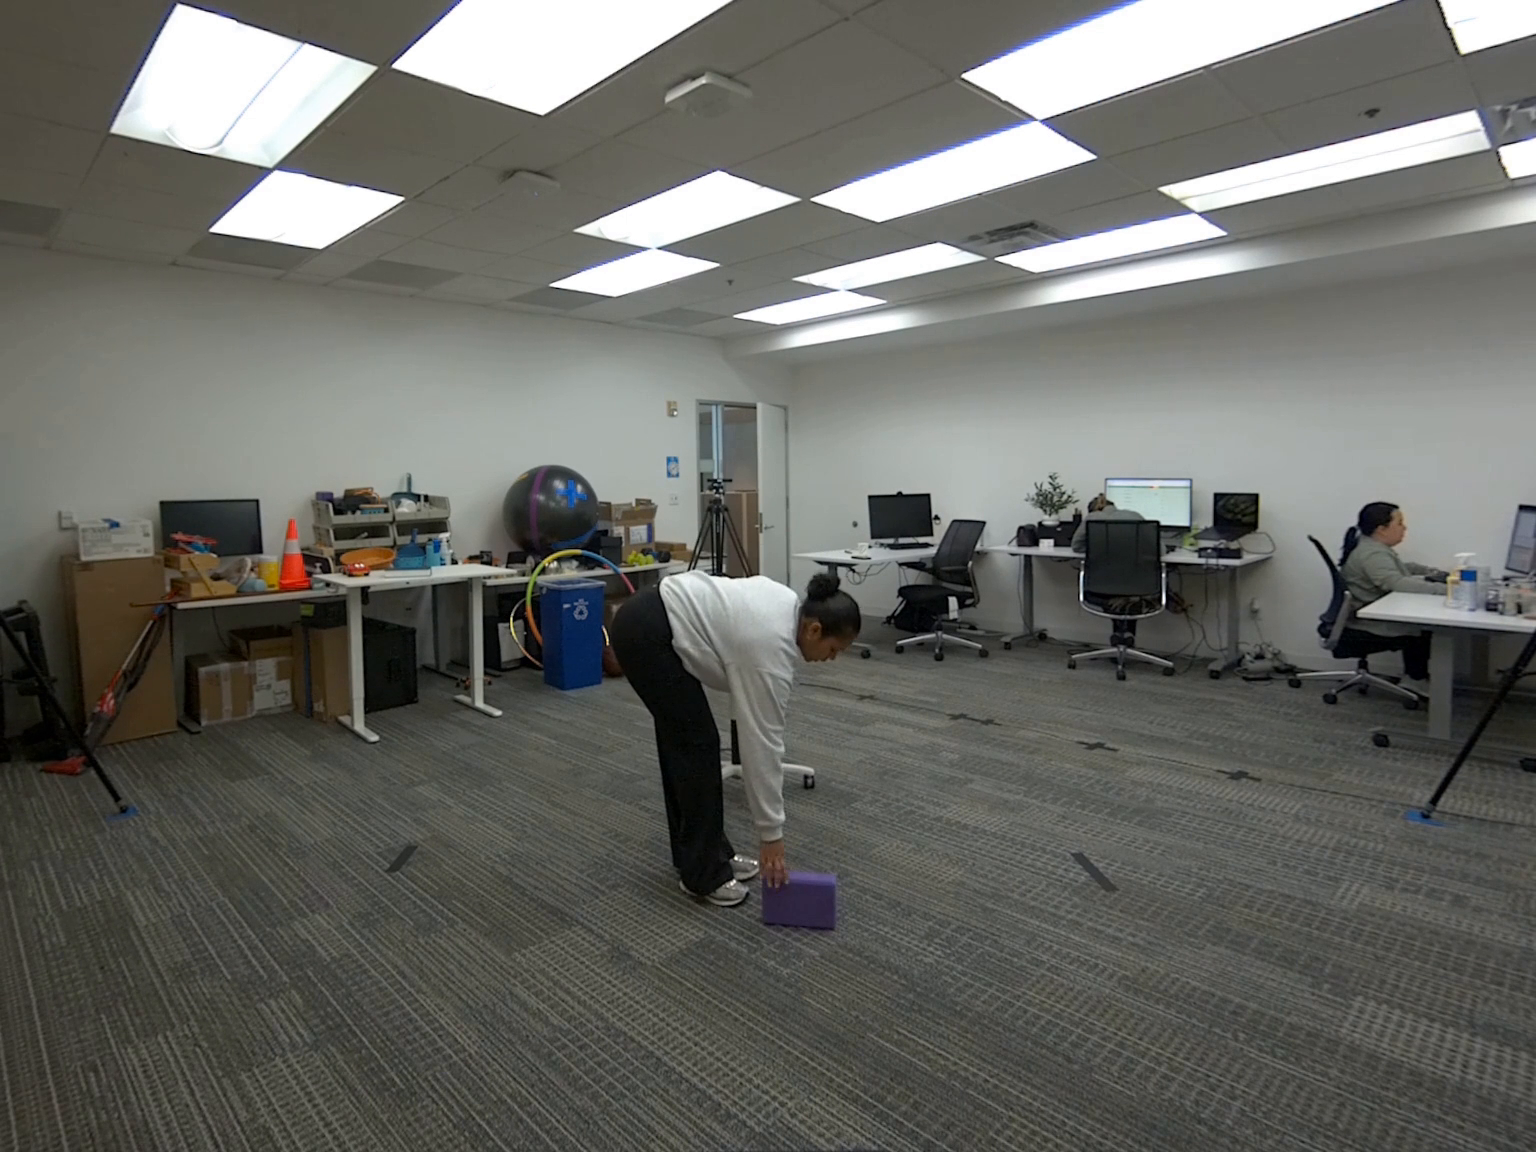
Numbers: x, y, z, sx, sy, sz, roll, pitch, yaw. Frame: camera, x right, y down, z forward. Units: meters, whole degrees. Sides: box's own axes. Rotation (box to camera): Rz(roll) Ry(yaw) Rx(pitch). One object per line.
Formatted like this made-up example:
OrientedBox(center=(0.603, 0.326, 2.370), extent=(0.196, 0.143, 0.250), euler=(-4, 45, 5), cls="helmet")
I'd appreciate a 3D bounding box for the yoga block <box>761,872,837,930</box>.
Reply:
OrientedBox(center=(0.102, 1.006, 2.682), extent=(0.231, 0.148, 0.076), euler=(2, 3, 9), cls="yoga block")
